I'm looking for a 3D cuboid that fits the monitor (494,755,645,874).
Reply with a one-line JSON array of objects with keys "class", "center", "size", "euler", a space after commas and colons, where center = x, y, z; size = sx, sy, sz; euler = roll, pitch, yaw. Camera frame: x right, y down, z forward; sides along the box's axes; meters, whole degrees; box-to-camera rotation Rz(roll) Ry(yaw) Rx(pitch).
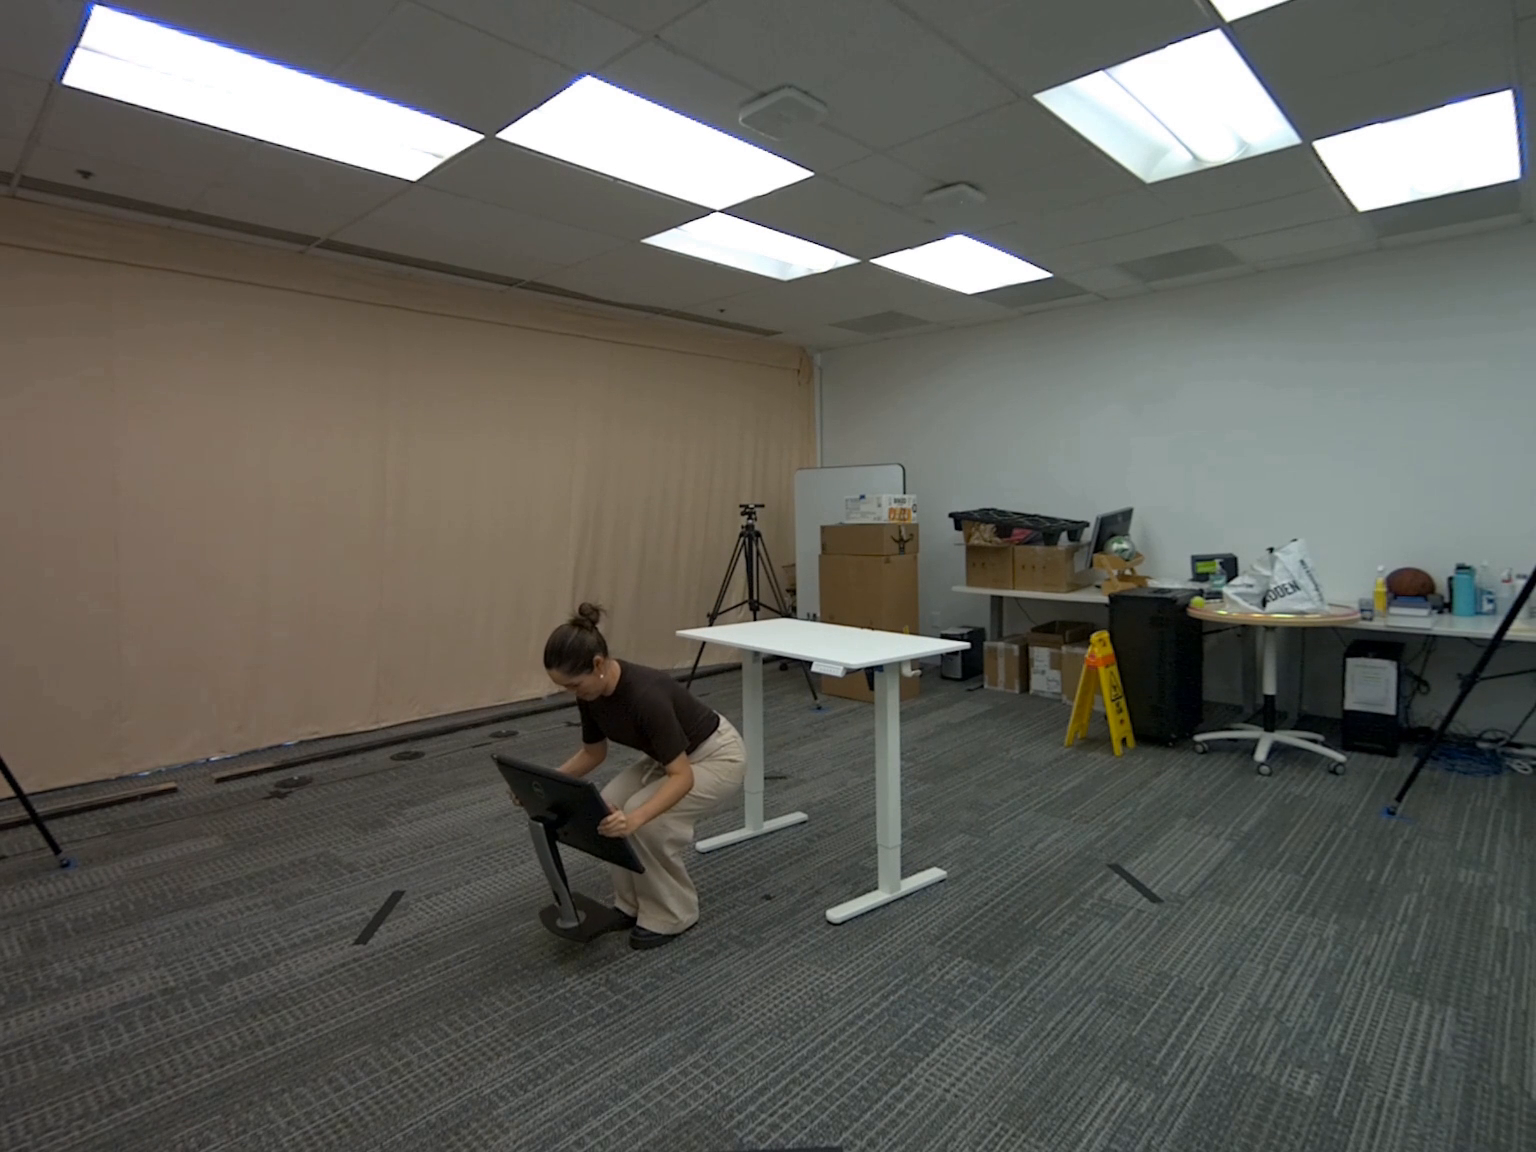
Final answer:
[{"class": "monitor", "center": [-0.631, 0.822, 2.555], "size": [0.556, 0.518, 0.183], "euler": [0, 14, 43]}]
